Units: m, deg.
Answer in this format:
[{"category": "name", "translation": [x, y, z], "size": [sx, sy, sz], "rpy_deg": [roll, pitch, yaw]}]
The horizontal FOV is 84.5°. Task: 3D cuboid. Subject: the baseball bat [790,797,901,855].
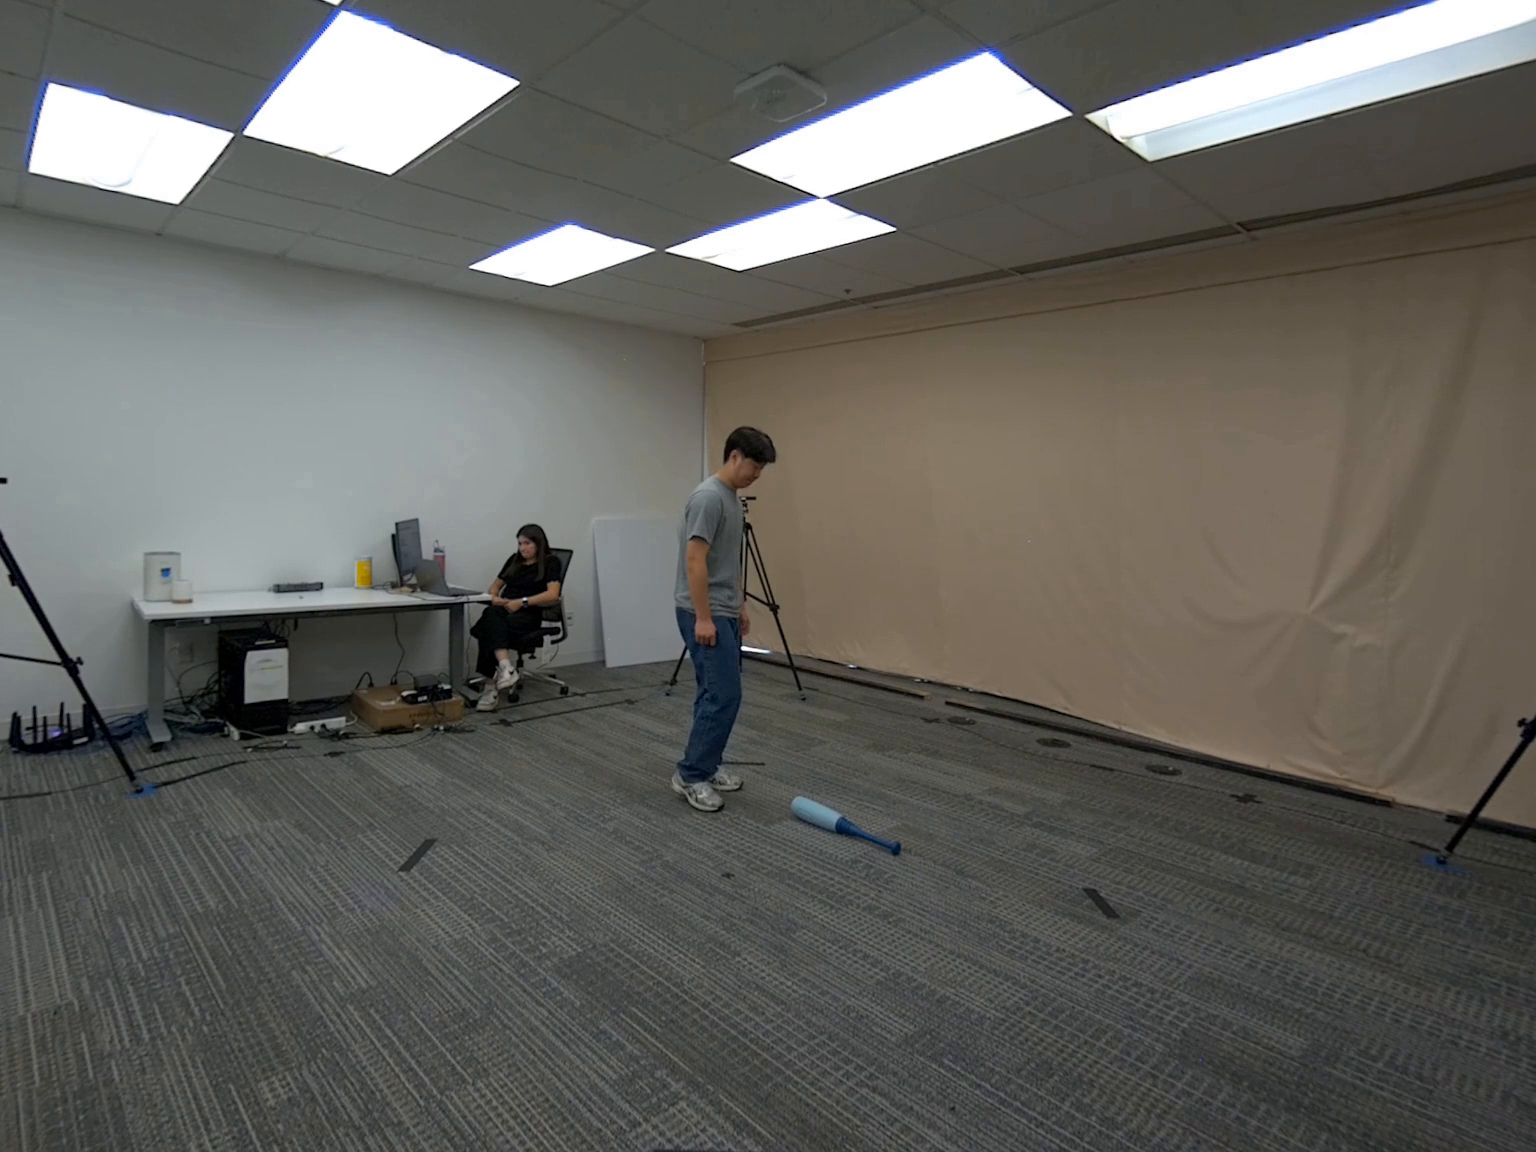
[{"category": "baseball bat", "translation": [0.312, 1.048, 3.516], "size": [0.087, 0.088, 0.558], "rpy_deg": [-3, 10, -45]}]
